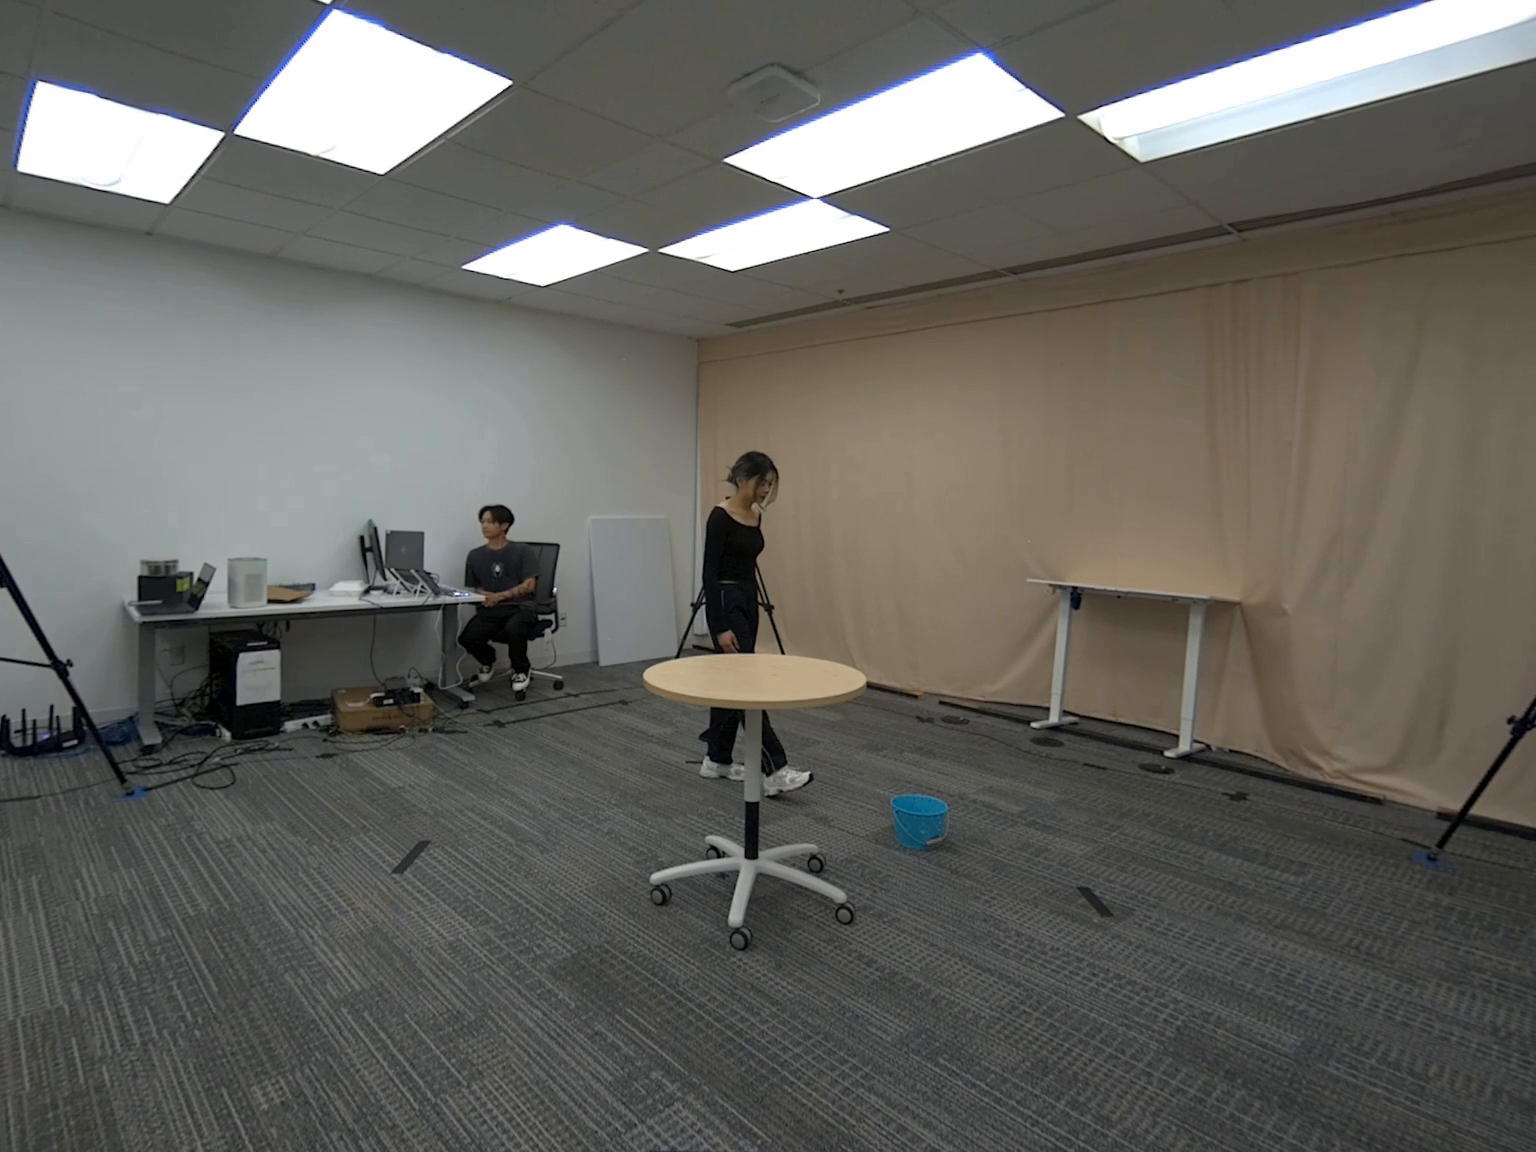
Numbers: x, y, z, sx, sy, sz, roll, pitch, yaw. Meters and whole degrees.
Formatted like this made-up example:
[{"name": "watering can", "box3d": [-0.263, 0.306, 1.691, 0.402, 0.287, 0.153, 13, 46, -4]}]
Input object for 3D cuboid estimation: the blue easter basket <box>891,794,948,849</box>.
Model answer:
[{"name": "blue easter basket", "box3d": [0.608, 1.014, 3.469, 0.243, 0.155, 0.244, 0, 5, -1]}]
